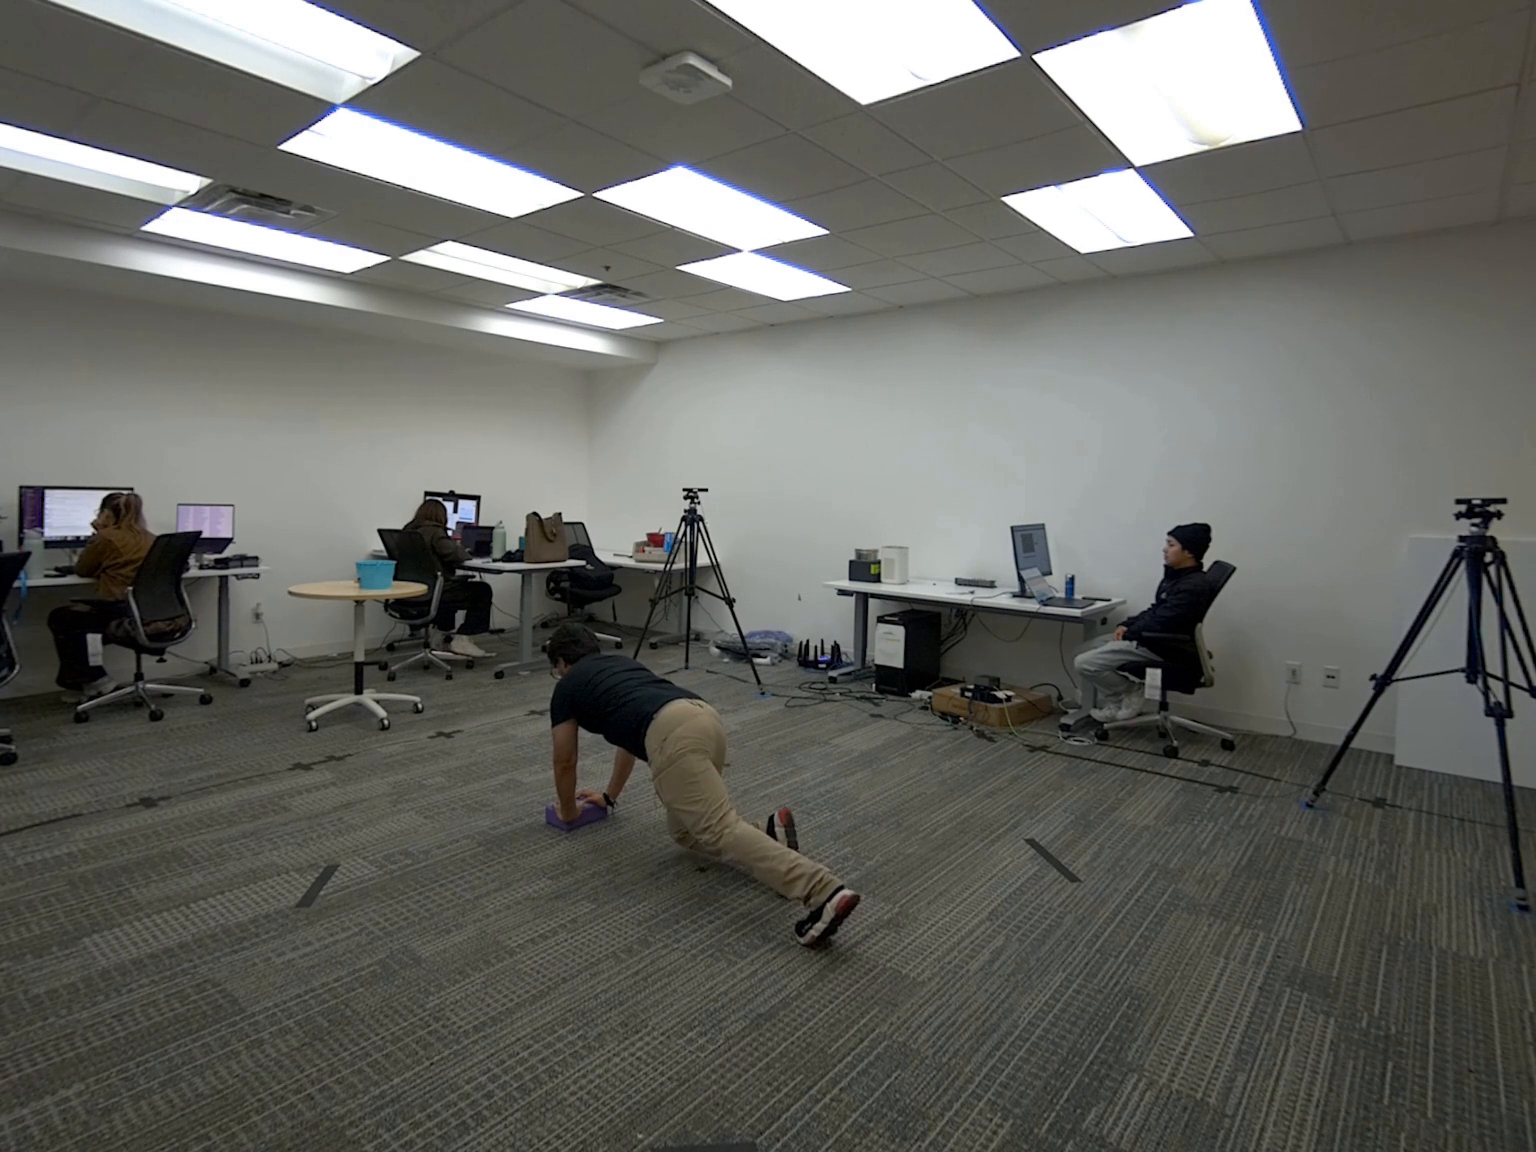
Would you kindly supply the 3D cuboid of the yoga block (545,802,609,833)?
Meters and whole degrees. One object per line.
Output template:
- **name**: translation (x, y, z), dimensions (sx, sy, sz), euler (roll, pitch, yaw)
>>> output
- **yoga block**: translation (-0.814, 0.982, 3.564), dimensions (0.154, 0.076, 0.223), euler (3, 6, 38)
